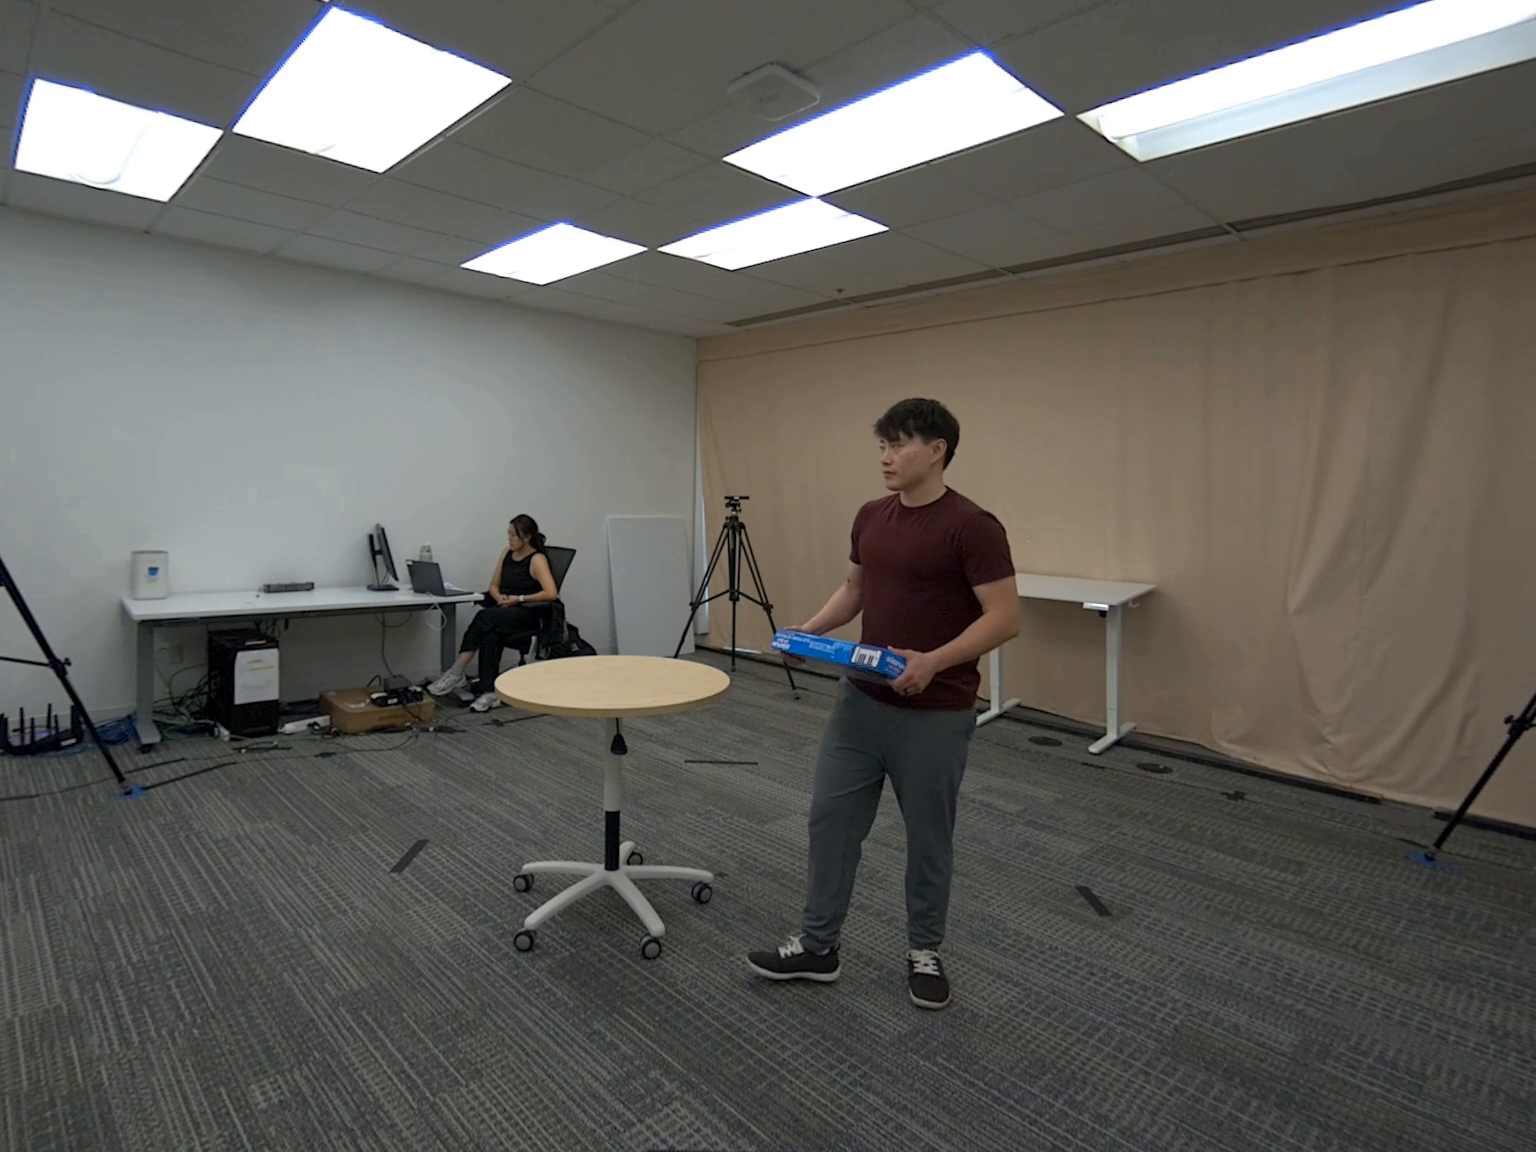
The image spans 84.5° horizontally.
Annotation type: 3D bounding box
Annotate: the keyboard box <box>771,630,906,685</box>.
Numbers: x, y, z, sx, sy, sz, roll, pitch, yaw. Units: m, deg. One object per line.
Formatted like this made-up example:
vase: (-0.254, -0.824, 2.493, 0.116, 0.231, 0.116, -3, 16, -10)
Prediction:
keyboard box: (0.199, 0.217, 2.274, 0.171, 0.059, 0.447, 24, -11, -34)
